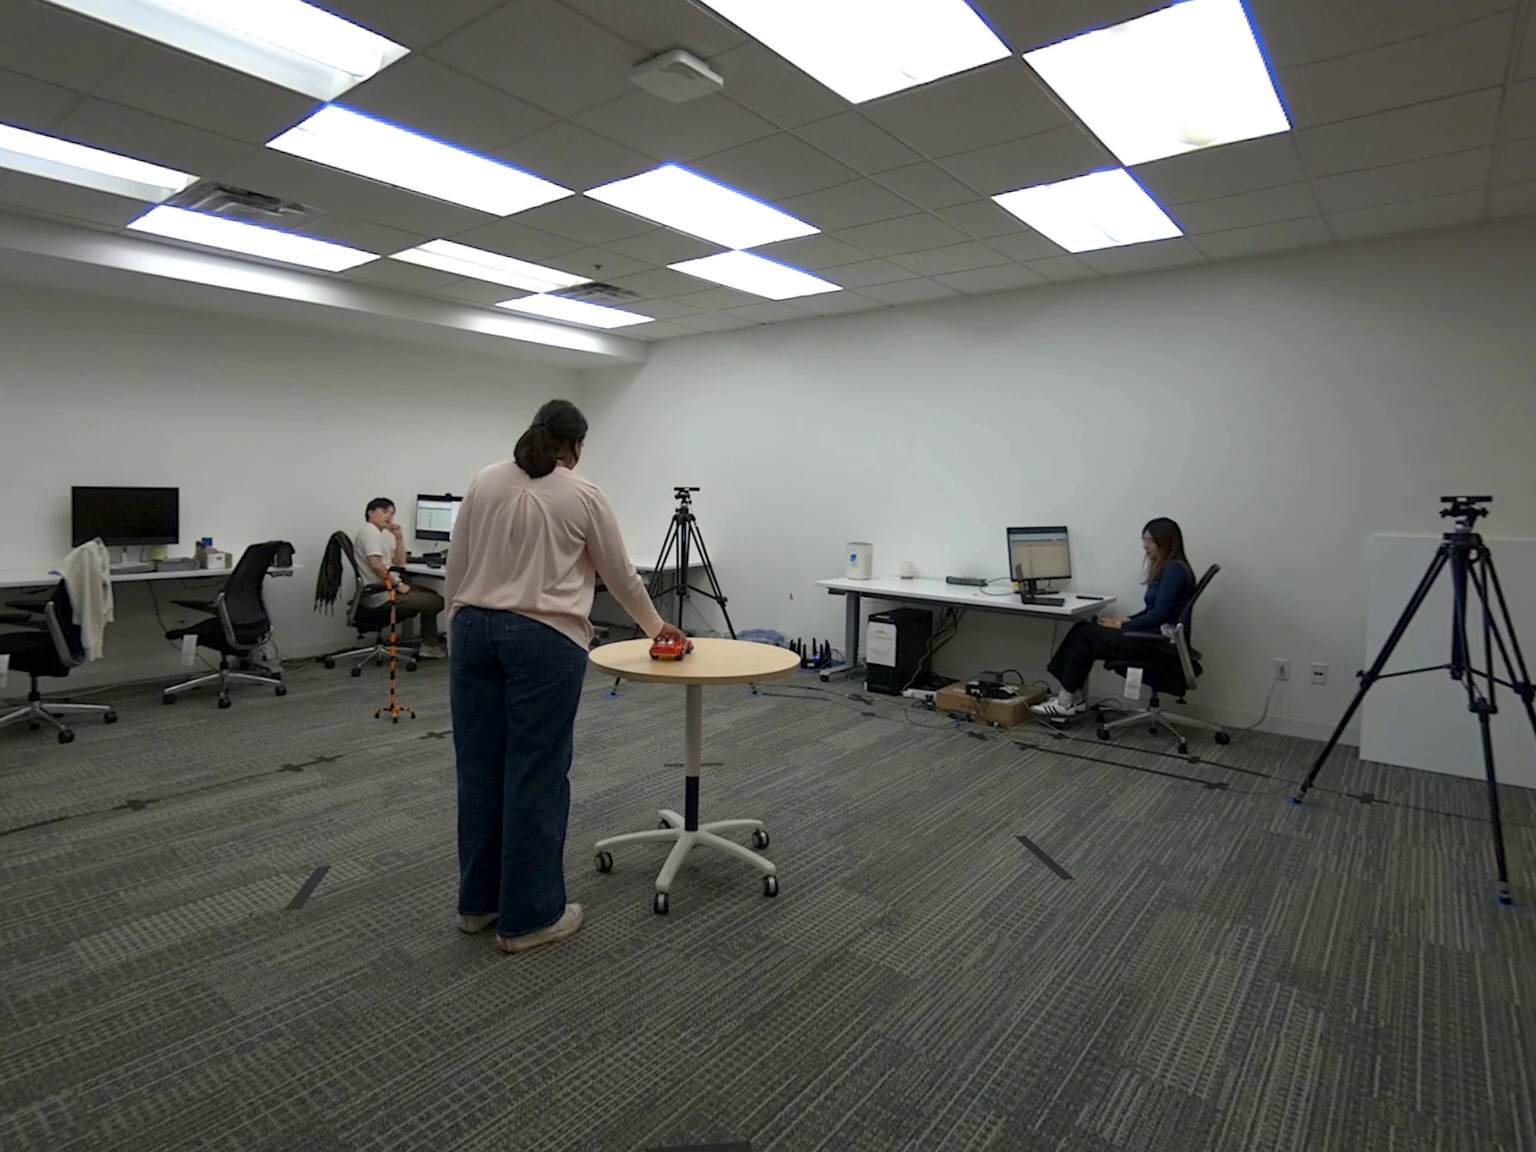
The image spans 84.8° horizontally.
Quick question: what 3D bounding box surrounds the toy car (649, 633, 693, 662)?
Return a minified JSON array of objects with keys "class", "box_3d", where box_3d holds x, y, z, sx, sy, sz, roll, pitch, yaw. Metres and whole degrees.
[{"class":"toy car","box_3d":[-0.356,0.254,3.041,0.131,0.084,0.251,1,-7,6]}]
